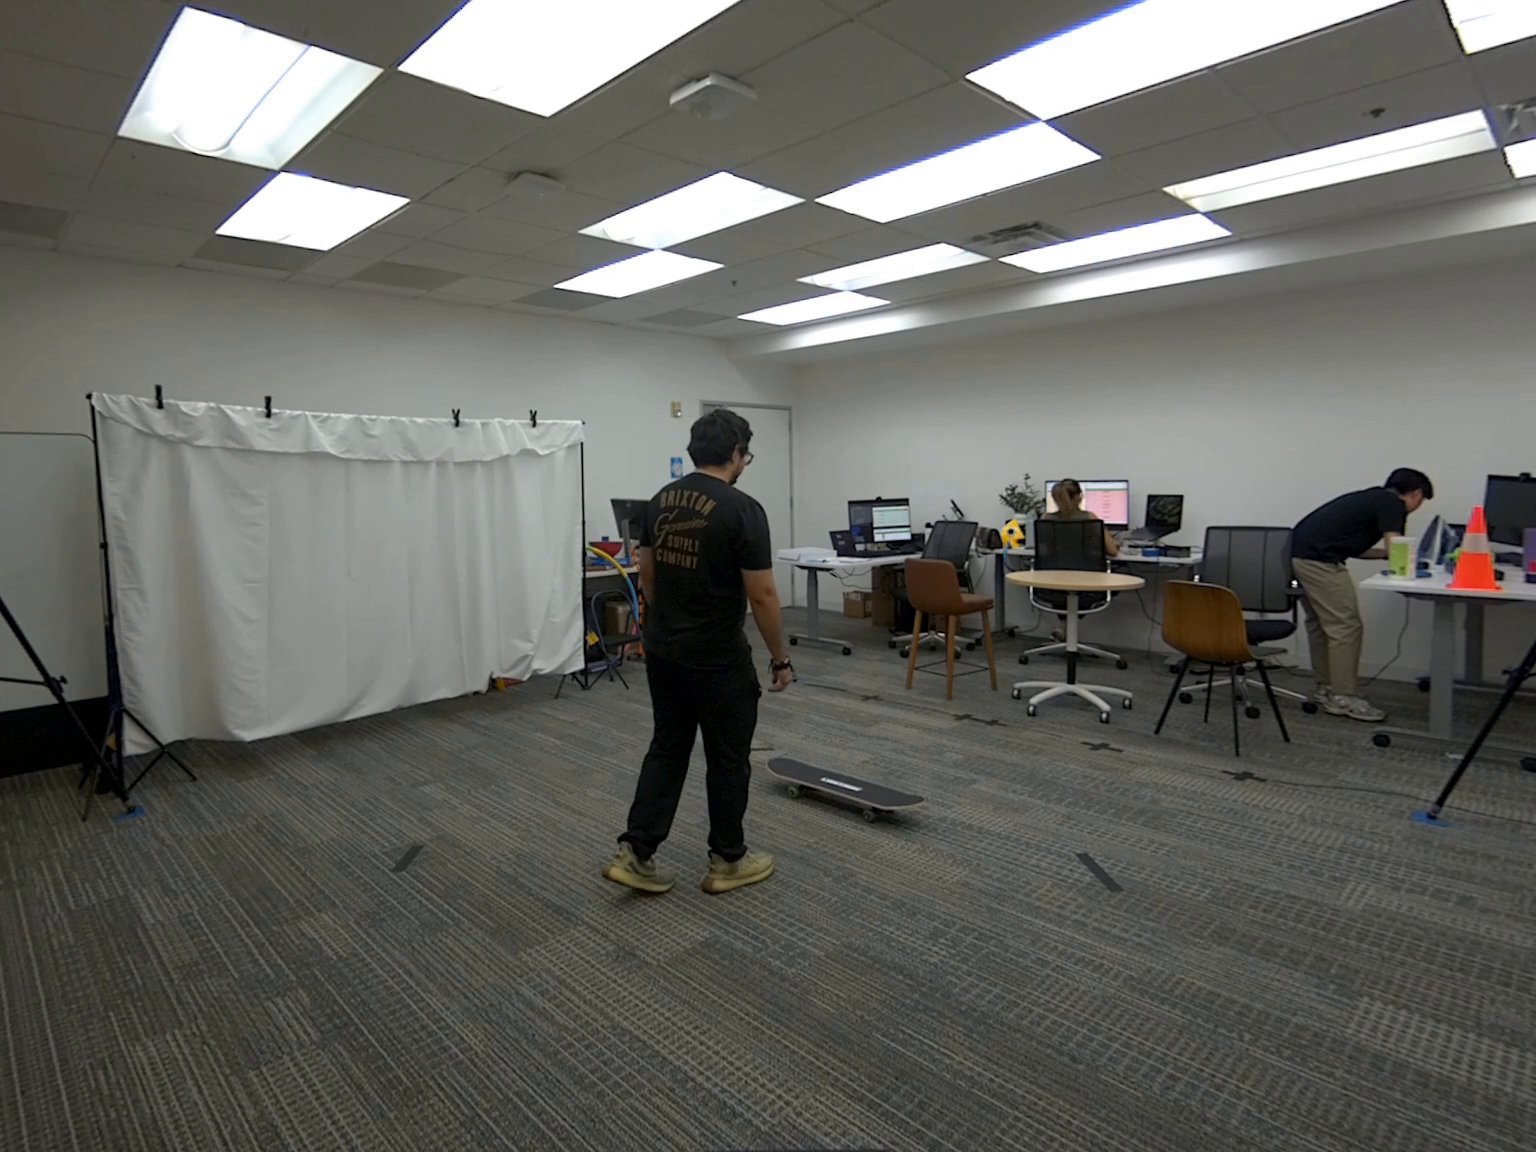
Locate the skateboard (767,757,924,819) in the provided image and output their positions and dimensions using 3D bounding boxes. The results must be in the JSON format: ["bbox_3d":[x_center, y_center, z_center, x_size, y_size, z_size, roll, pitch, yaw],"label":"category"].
[{"bbox_3d":[0.322,0.928,3.666,0.810,0.110,0.188,5,8,43],"label":"skateboard"}]
